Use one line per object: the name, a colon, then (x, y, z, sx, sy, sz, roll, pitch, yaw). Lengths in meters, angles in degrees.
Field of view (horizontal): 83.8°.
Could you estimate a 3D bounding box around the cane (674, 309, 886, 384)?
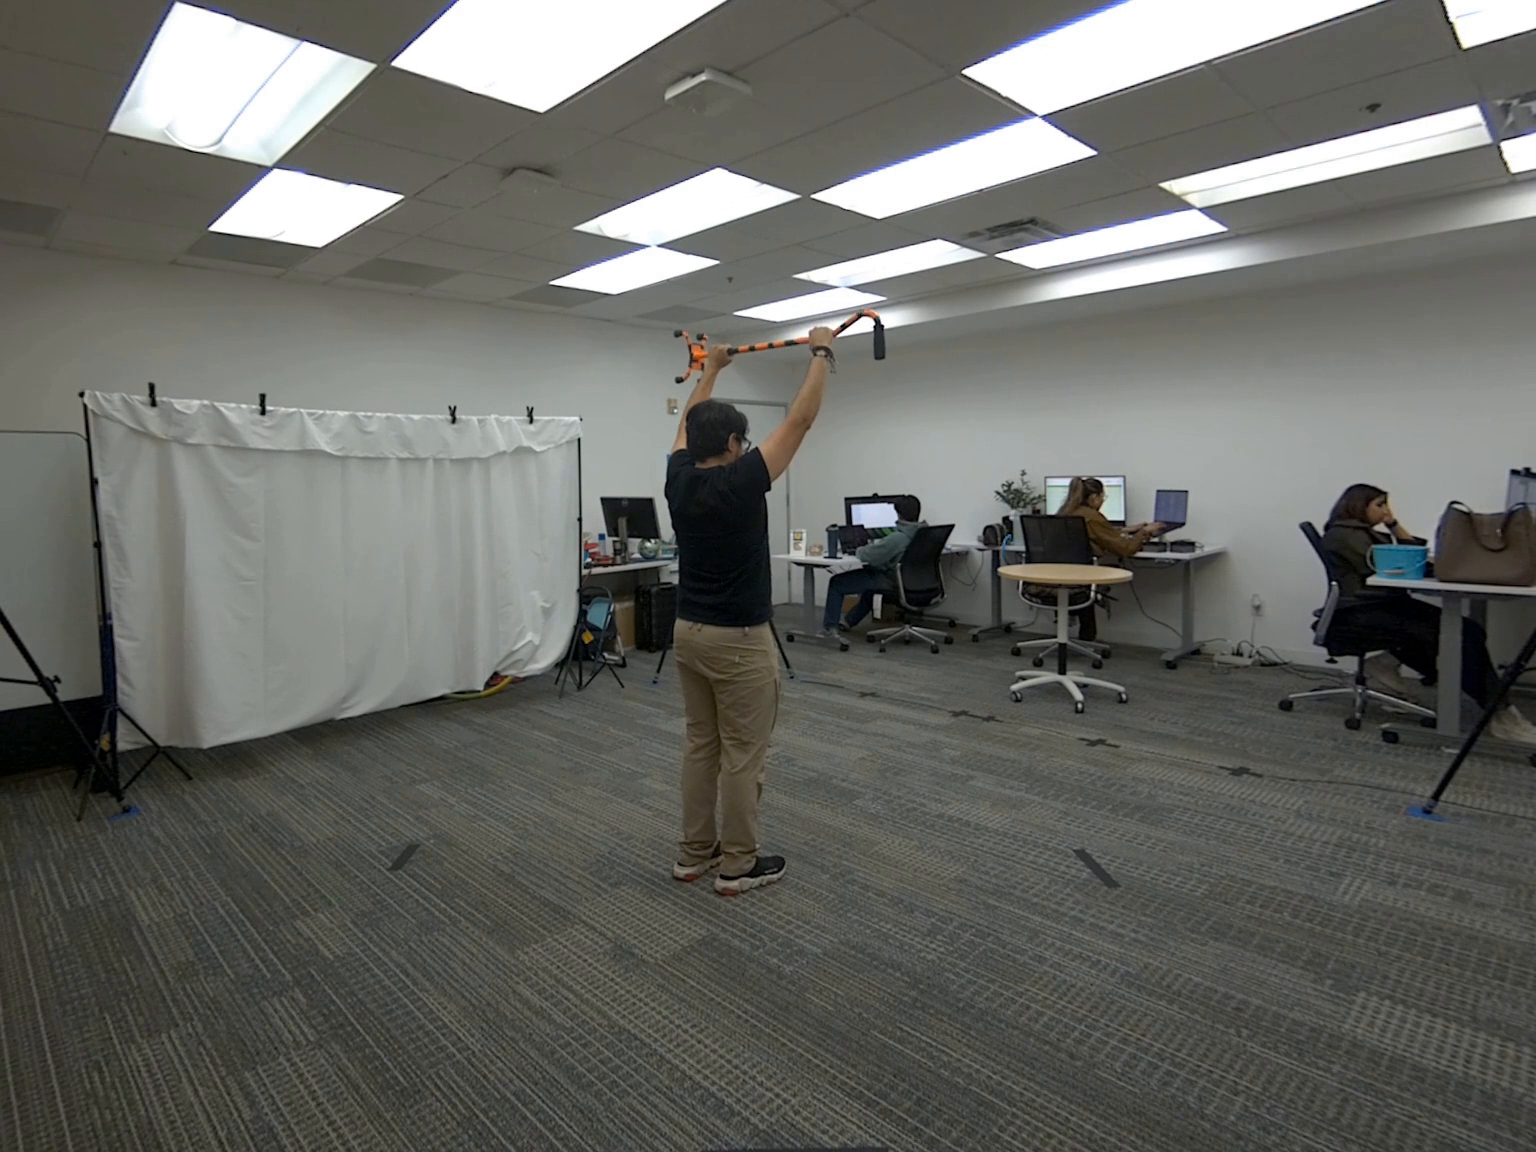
cane: (0.029, -0.825, 3.052, 0.936, 0.205, 0.148, 6, 10, 43)
